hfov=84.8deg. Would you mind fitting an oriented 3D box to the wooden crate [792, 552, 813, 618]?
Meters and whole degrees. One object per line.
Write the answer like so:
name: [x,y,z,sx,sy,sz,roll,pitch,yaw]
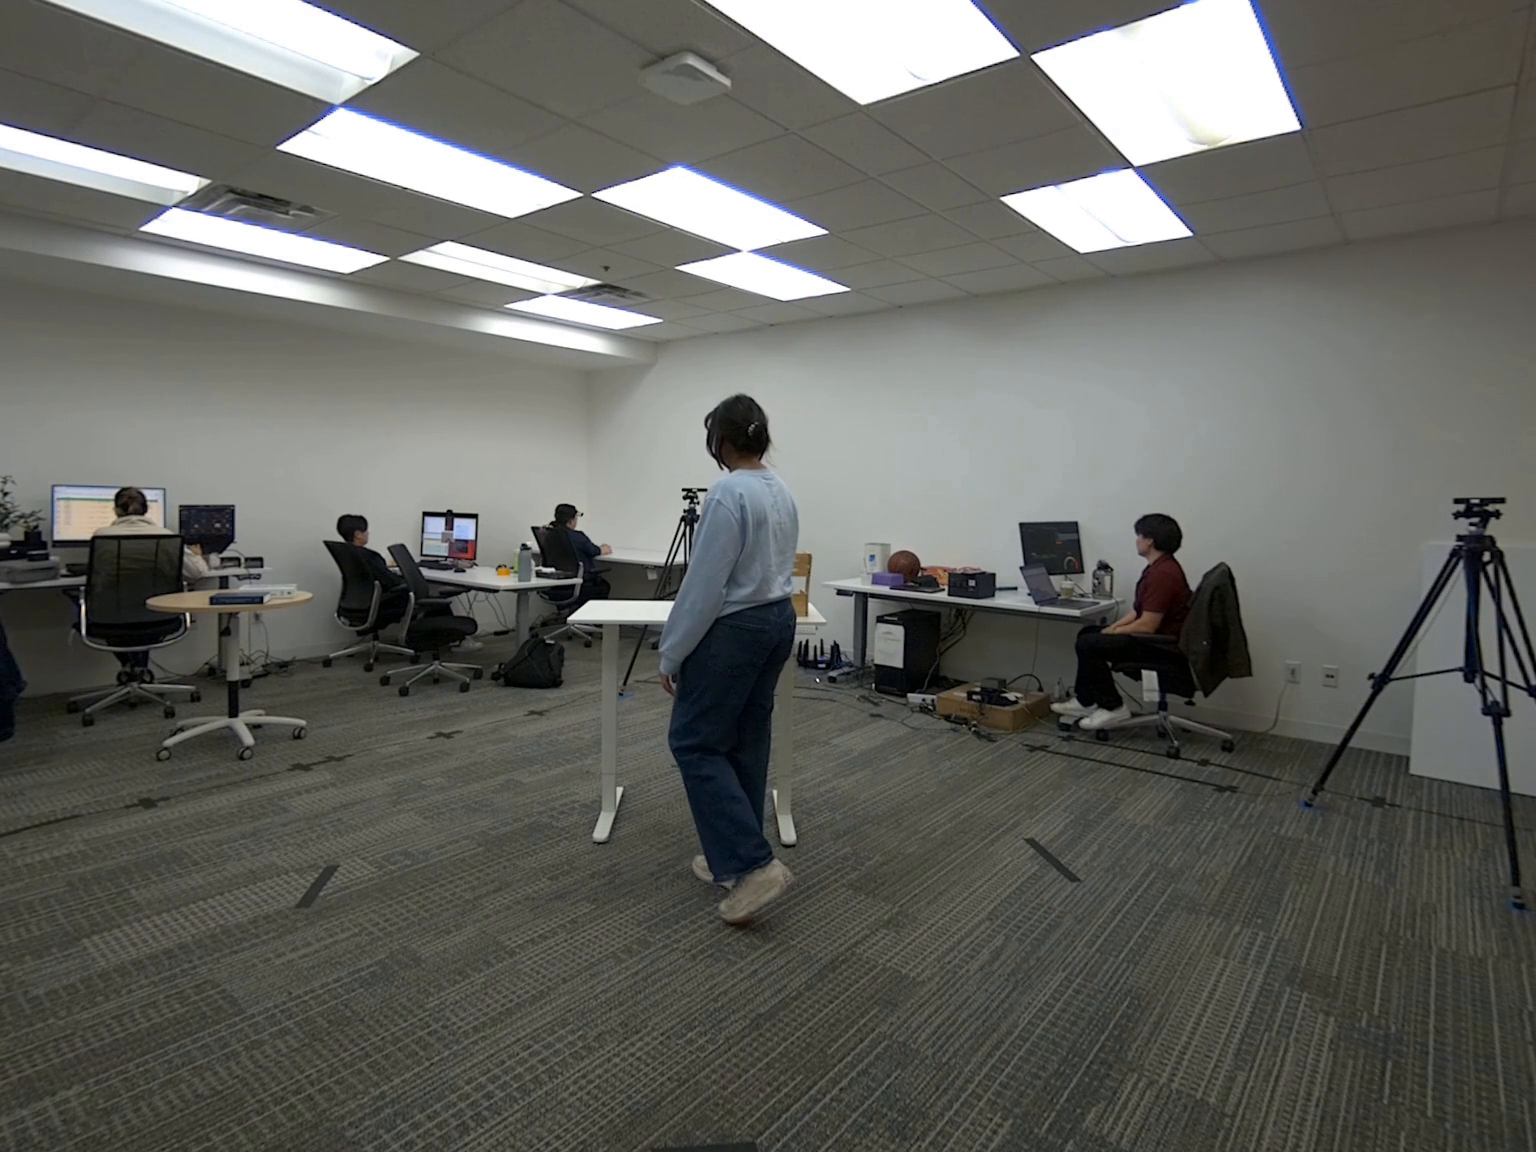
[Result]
wooden crate: [-0.004,0.017,3.497,0.324,0.272,0.304,1,5,-3]
